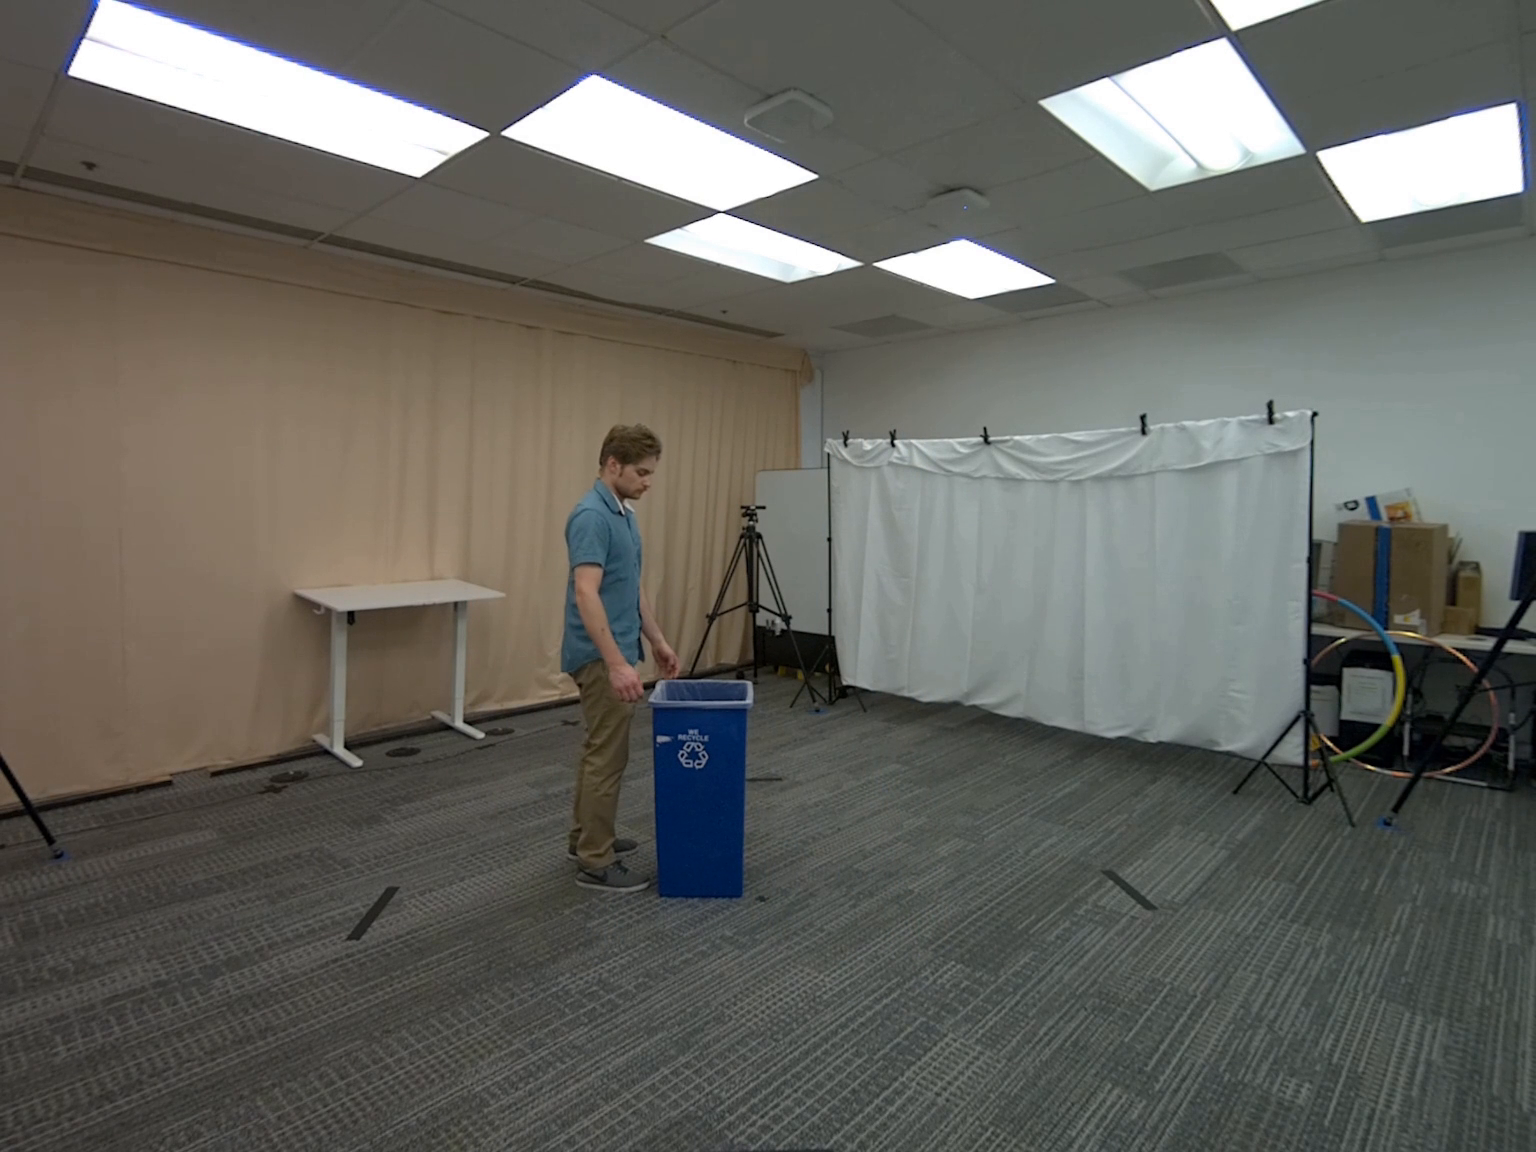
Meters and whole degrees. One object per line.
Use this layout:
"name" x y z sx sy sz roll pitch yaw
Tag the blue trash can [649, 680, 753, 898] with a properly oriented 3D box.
"blue trash can" -0.243 0.781 3.111 0.378 0.712 0.374 0 3 0
